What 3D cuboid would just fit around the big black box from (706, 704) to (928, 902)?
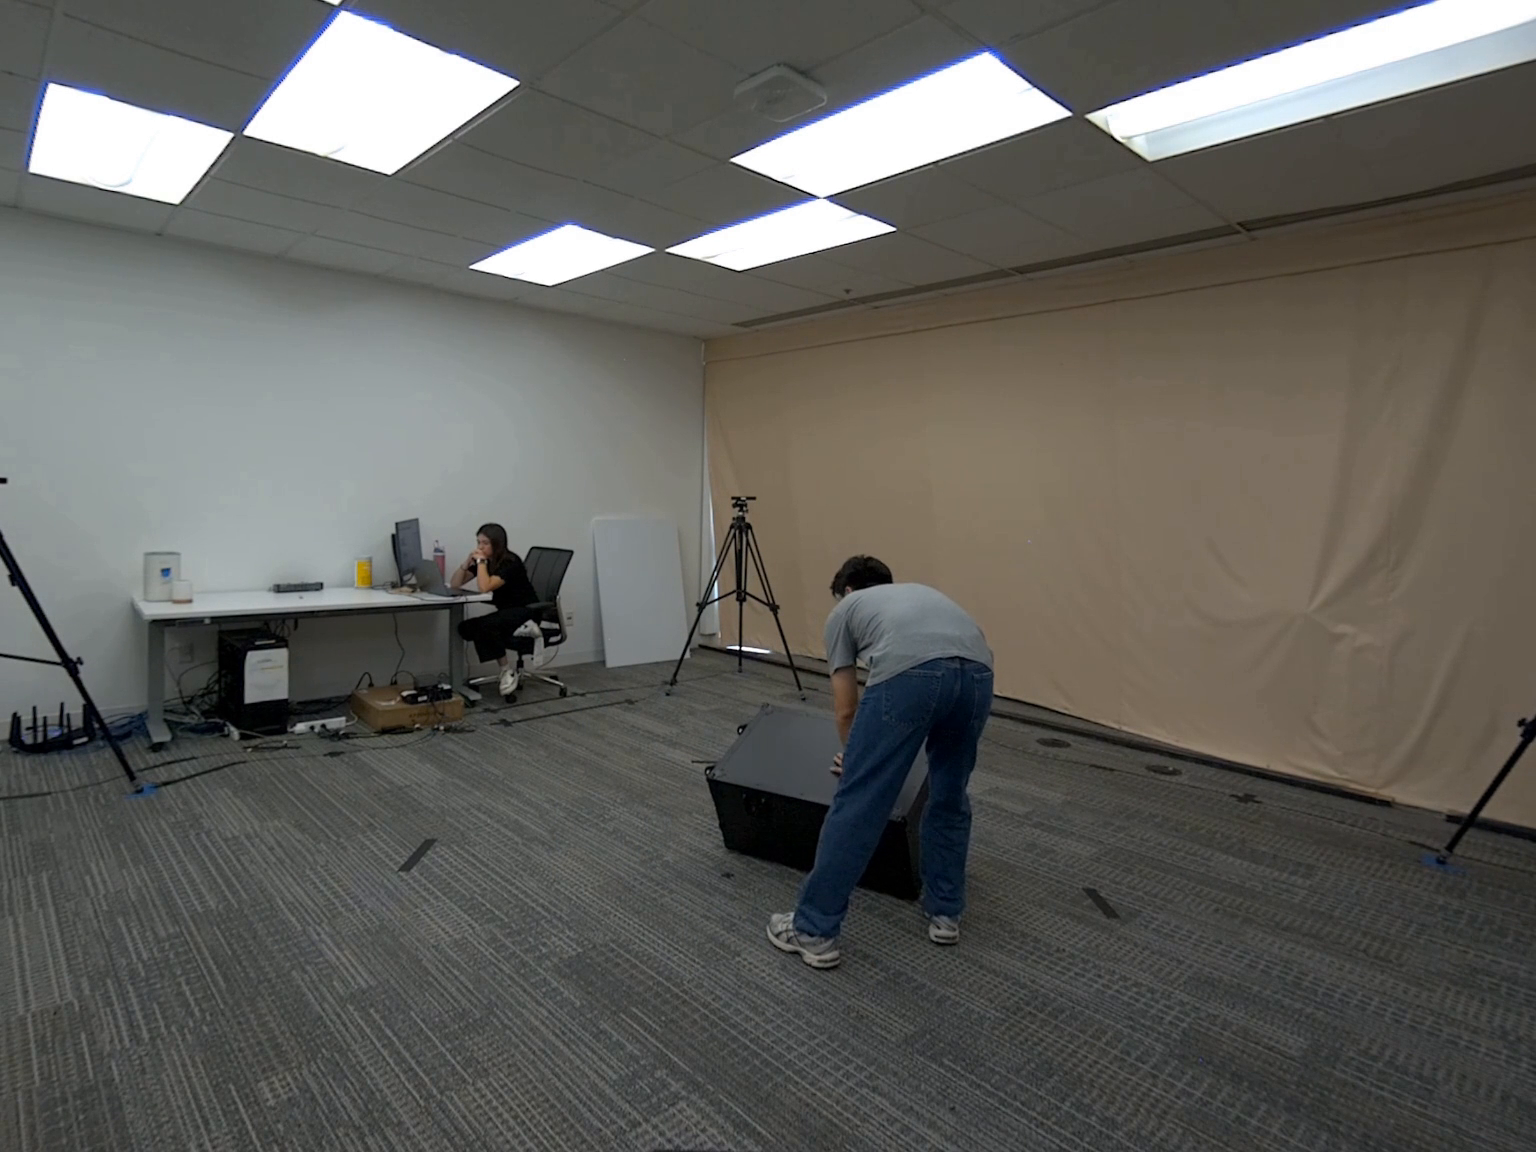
[{"bbox_3d":[0.220,0.837,3.246,0.881,0.388,0.520,5,31,30],"label":"big black box"}]
